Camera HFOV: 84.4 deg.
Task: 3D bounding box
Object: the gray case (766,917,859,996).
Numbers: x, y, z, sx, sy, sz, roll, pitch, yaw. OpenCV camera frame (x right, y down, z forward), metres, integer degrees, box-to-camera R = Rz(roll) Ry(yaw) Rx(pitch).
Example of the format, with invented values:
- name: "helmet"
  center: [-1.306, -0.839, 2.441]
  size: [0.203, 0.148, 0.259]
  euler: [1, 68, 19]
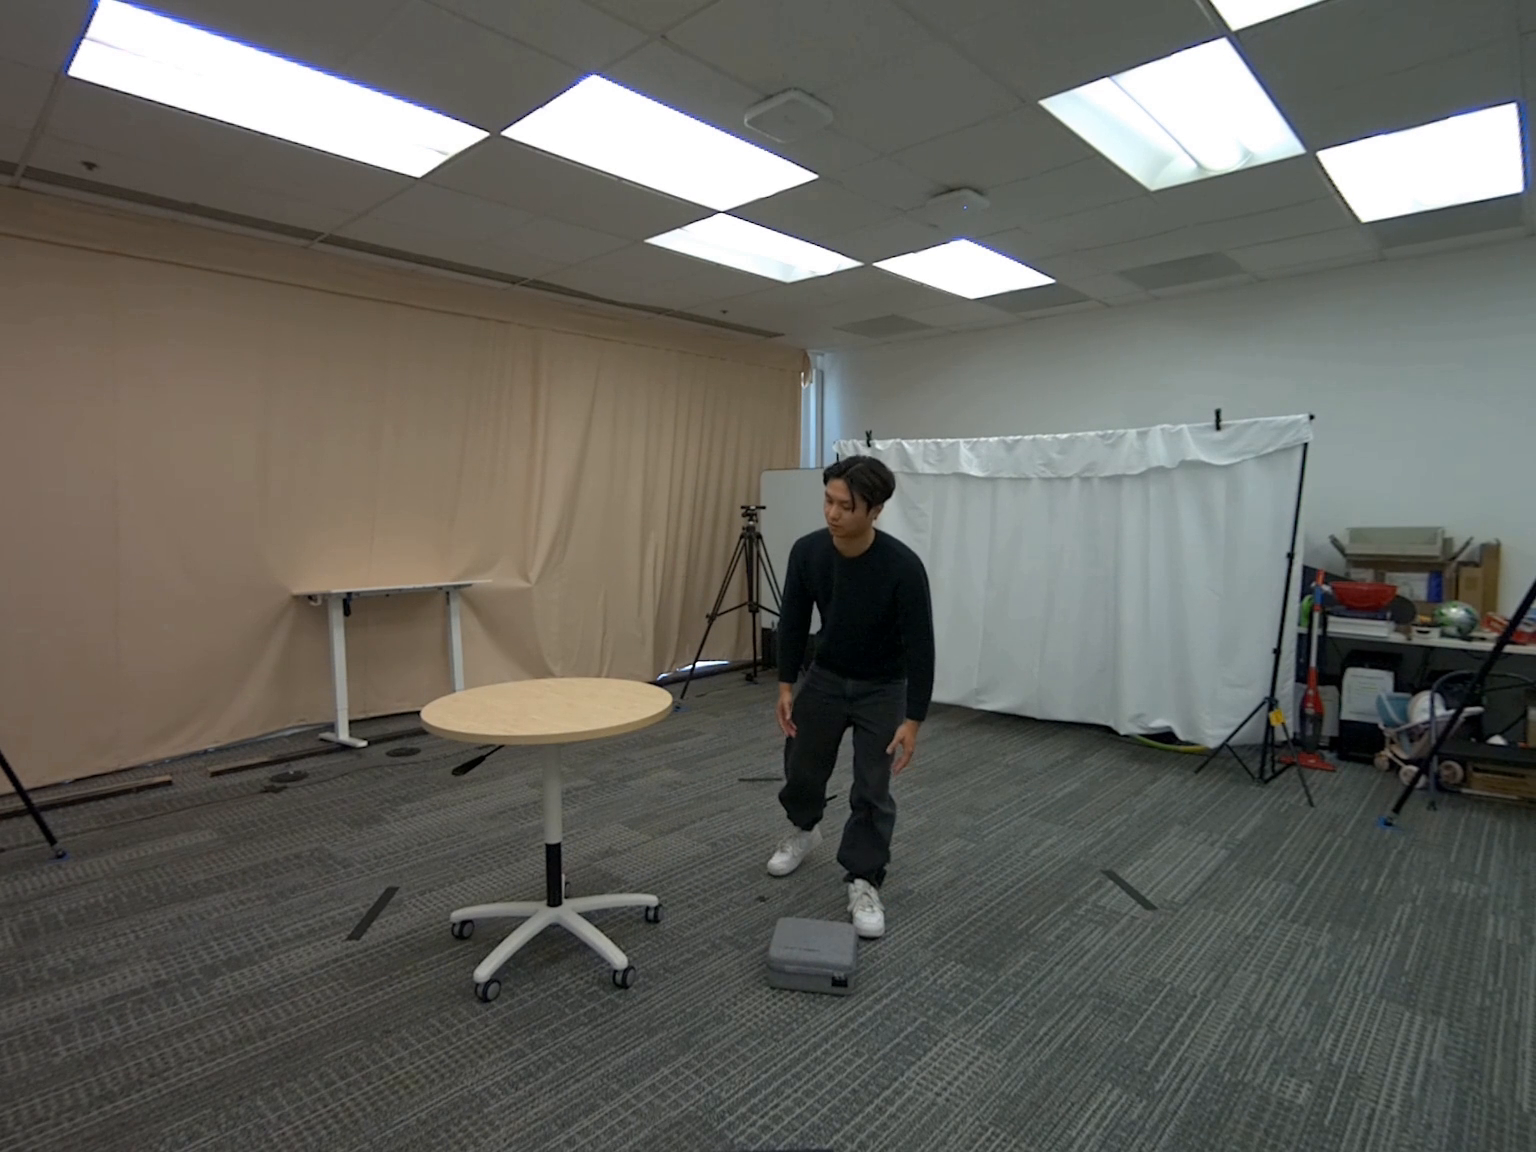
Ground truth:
- name: "gray case"
  center: [0.130, 1.119, 2.520]
  size: [0.260, 0.104, 0.258]
  euler: [0, 4, 10]
